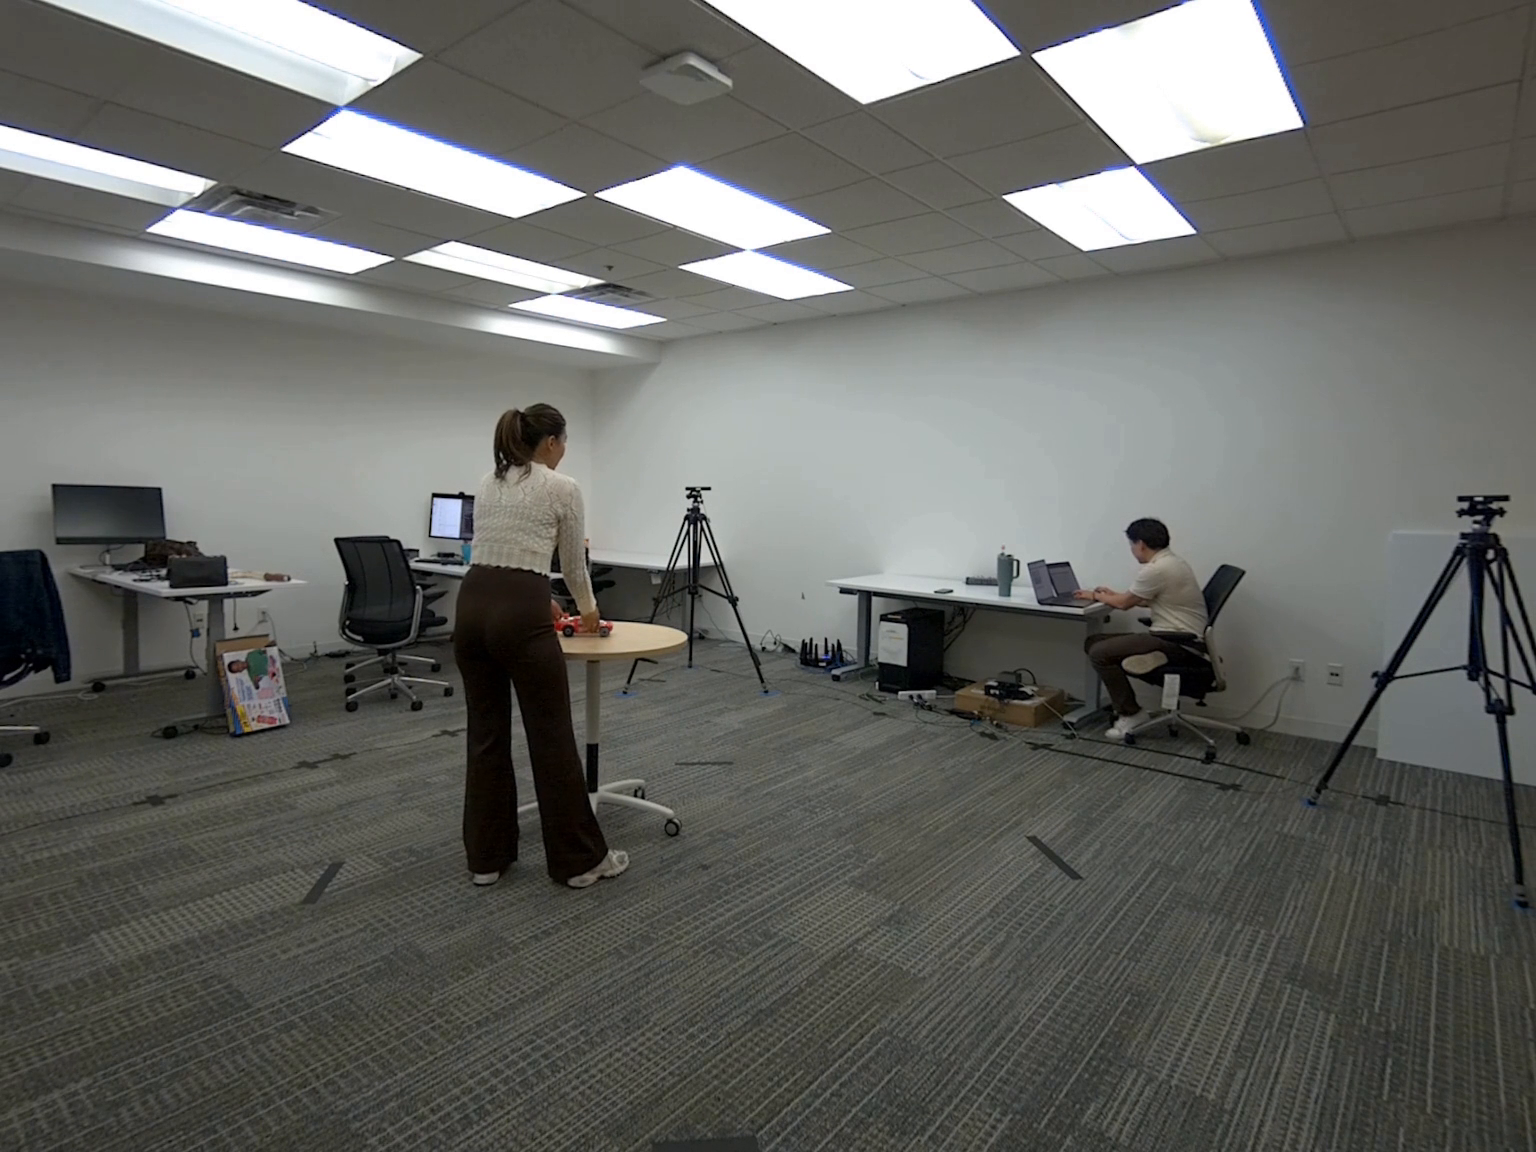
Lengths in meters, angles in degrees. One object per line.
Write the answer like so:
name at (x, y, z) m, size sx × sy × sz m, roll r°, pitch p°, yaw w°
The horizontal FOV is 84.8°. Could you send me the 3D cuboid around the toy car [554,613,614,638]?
toy car at (-0.780, 0.206, 3.471) m, size 0.252 × 0.083 × 0.131 m, roll 11°, pitch 3°, yaw -7°
